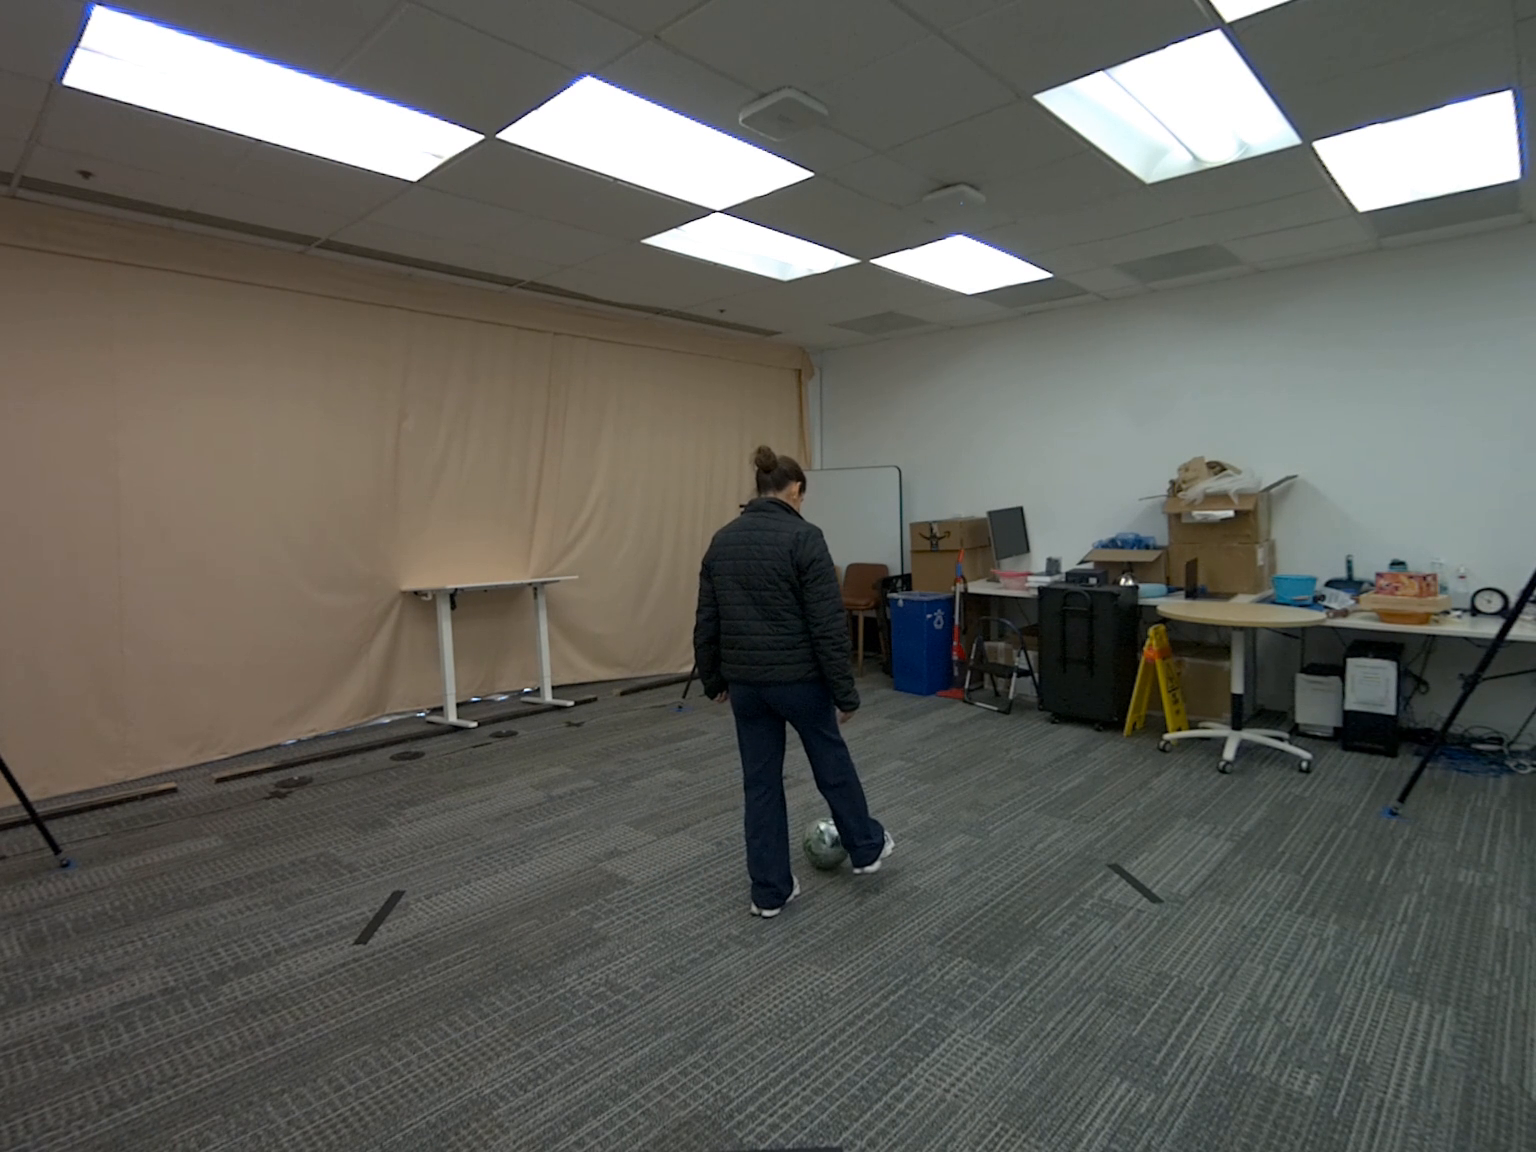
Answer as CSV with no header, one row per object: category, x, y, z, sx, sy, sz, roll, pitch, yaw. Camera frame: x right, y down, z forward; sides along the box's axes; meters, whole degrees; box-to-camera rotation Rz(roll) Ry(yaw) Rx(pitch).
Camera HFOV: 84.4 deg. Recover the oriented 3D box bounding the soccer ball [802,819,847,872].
soccer ball,0.229,1.019,3.216,0.187,0.187,0.188,-1,4,-2
